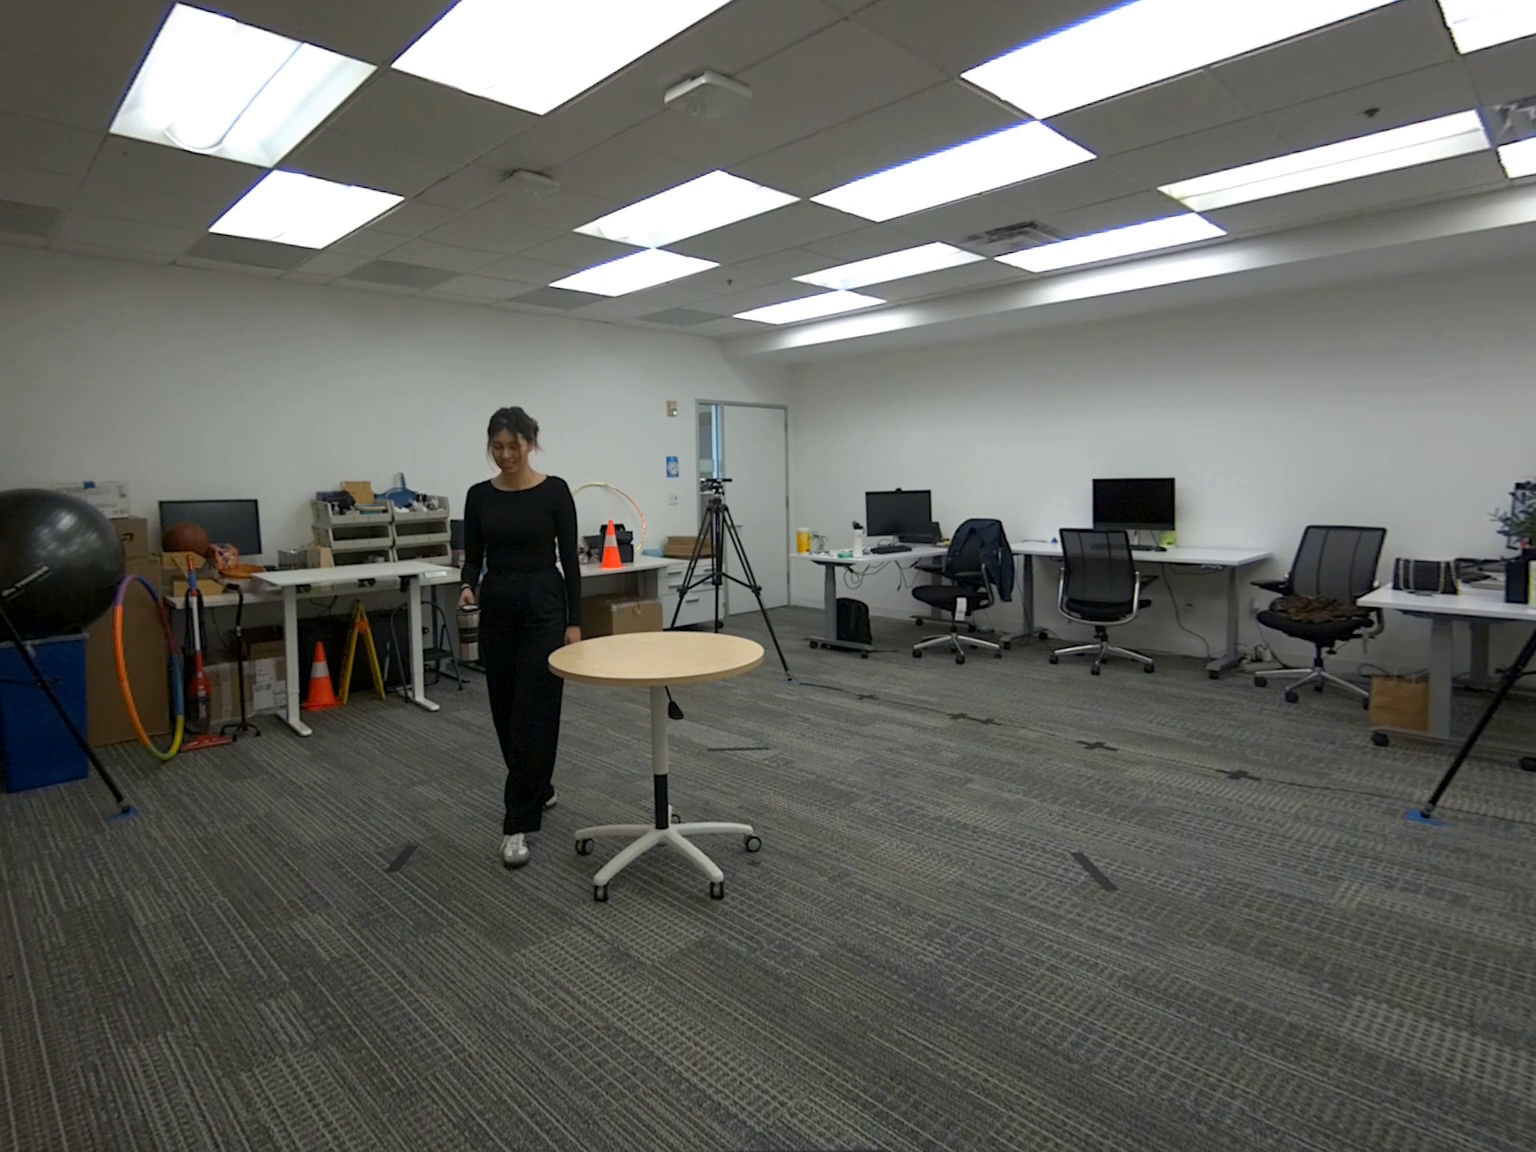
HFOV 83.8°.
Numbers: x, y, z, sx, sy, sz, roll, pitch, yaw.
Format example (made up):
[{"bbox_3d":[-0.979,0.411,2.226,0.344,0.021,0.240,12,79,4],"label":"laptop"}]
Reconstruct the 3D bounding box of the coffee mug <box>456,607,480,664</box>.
[{"bbox_3d":[-1.080,0.217,3.088,0.125,0.203,0.086,-5,1,32],"label":"coffee mug"}]
